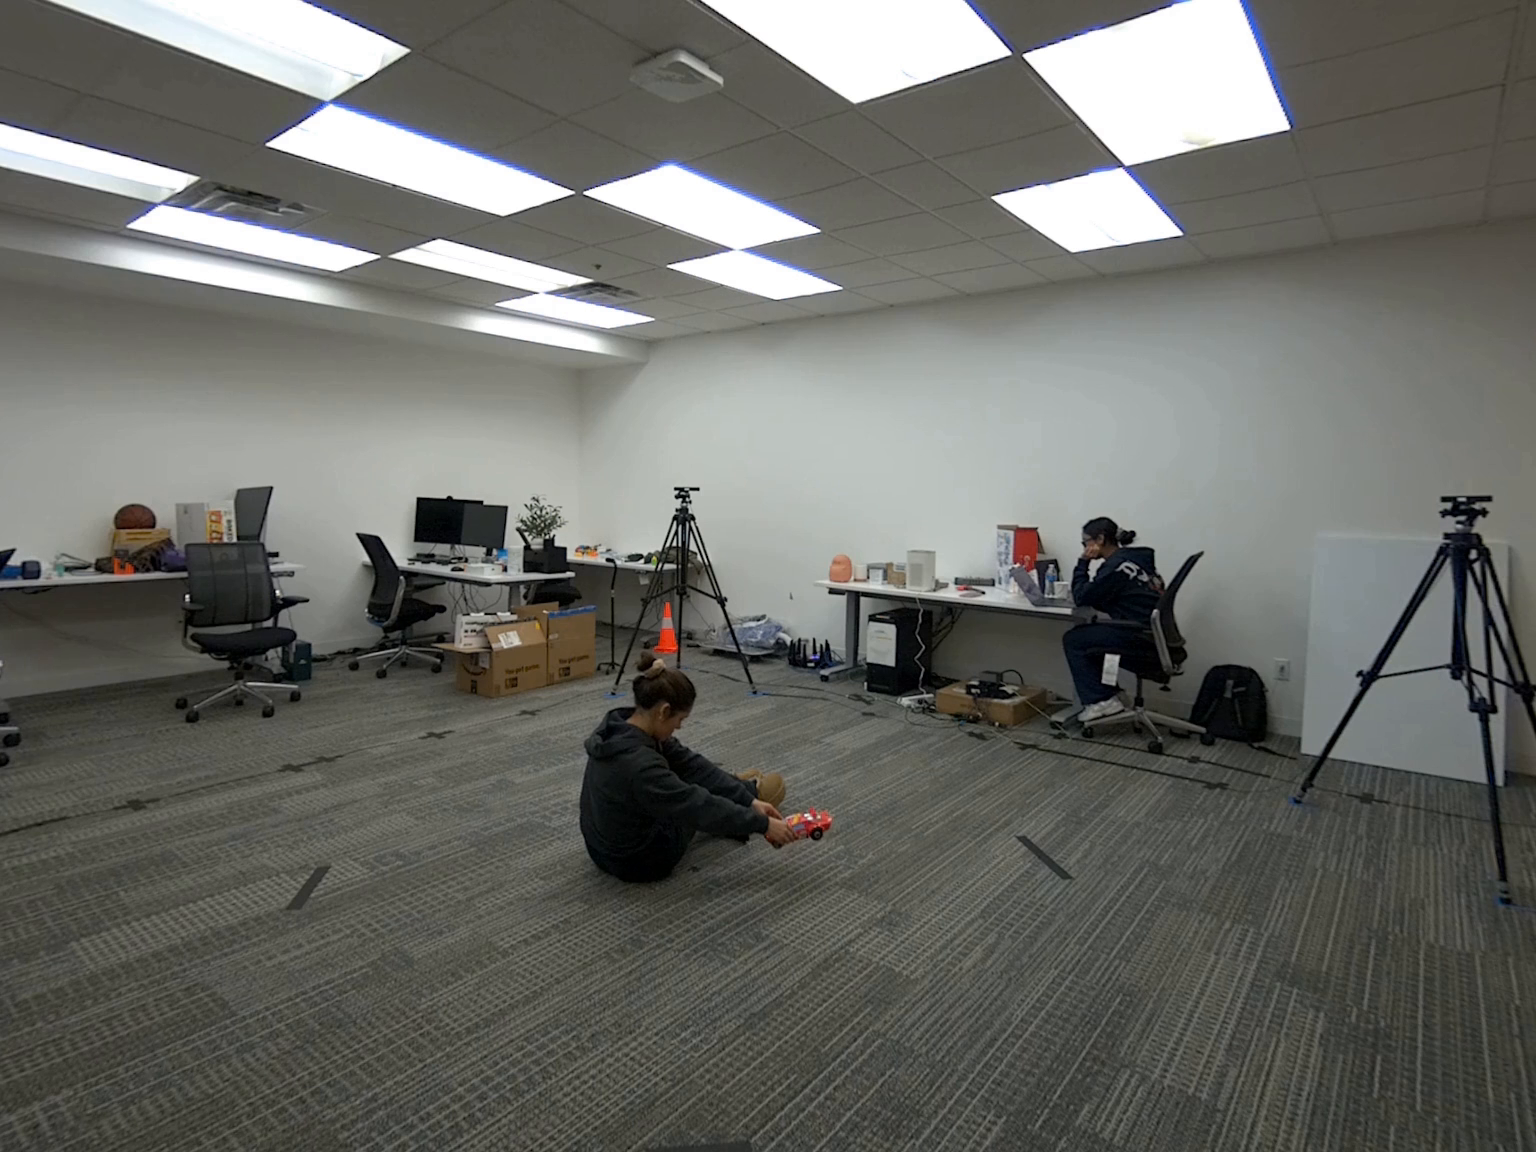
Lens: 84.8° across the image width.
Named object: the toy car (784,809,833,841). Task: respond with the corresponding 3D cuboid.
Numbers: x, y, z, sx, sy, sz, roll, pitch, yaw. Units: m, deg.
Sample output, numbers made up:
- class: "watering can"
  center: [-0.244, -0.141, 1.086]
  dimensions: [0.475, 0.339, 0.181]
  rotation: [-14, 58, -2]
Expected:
- class: "toy car"
  center: [0.112, 0.911, 3.061]
  dimensions: [0.253, 0.082, 0.133]
  rotation: [-21, 13, -10]
